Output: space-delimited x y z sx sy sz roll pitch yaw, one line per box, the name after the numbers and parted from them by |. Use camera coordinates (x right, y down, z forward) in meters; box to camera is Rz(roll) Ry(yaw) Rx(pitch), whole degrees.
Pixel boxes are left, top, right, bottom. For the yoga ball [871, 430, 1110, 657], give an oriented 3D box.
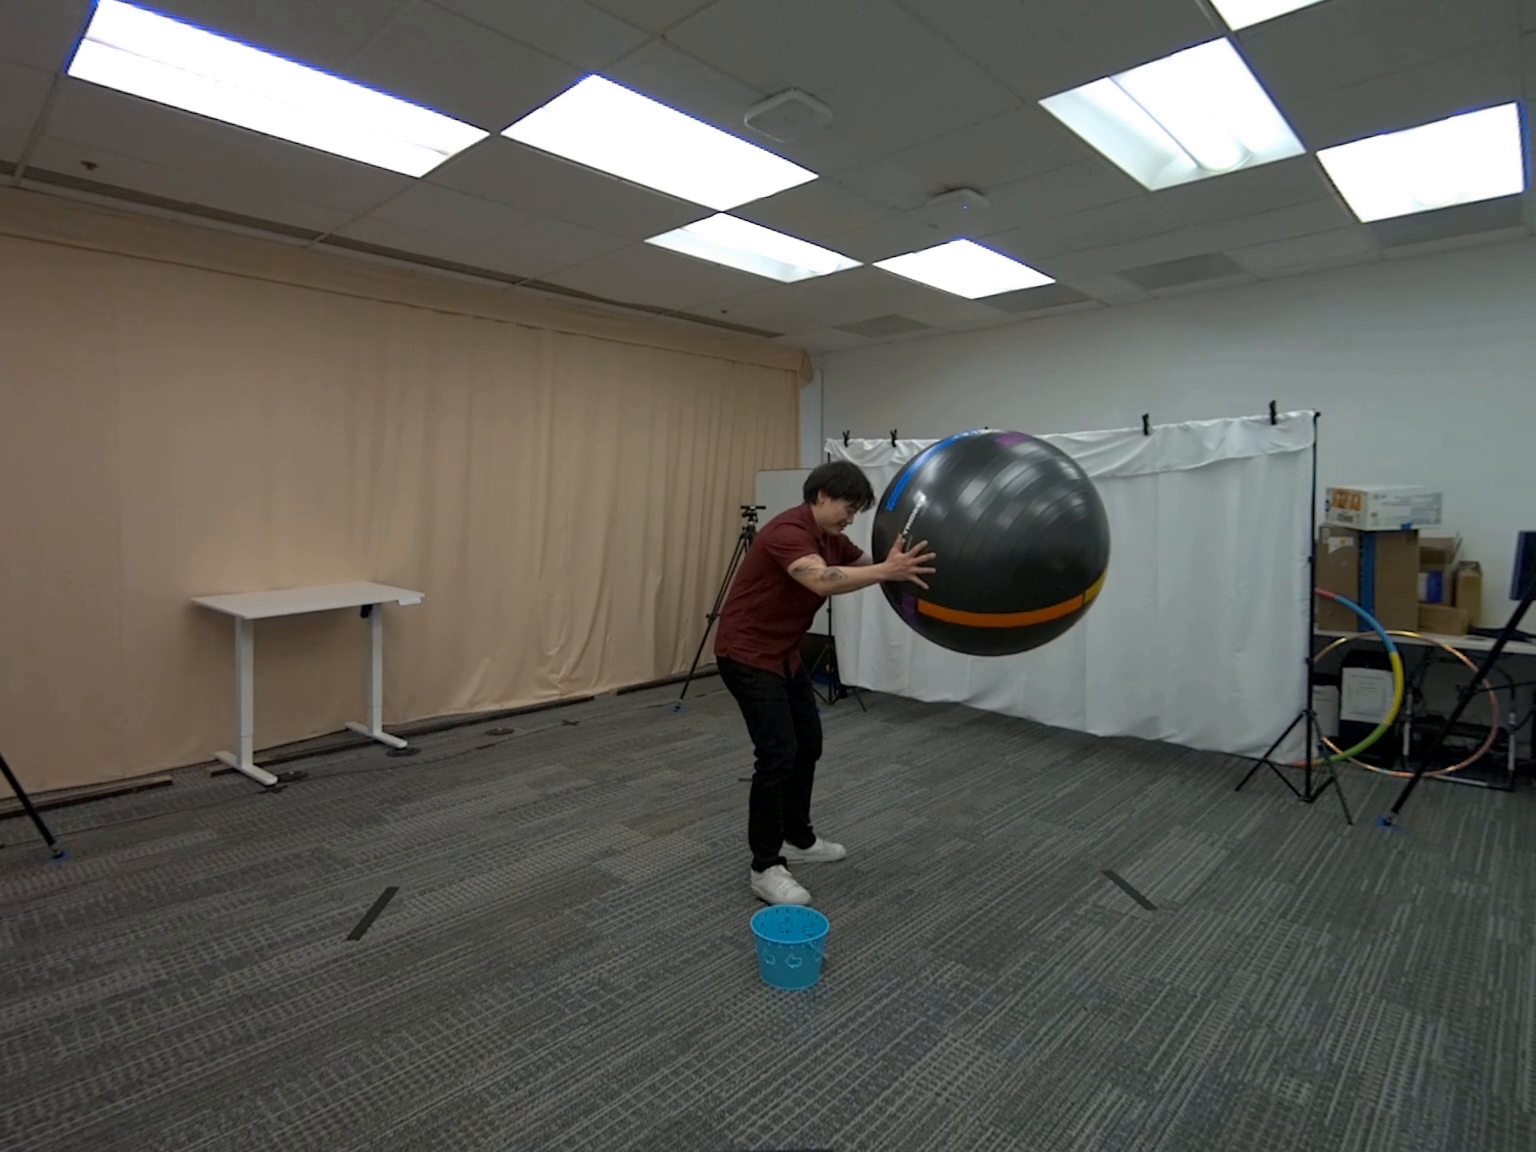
0.736 -0.095 2.826 0.757 0.756 0.760 0 4 -2 | yoga ball
